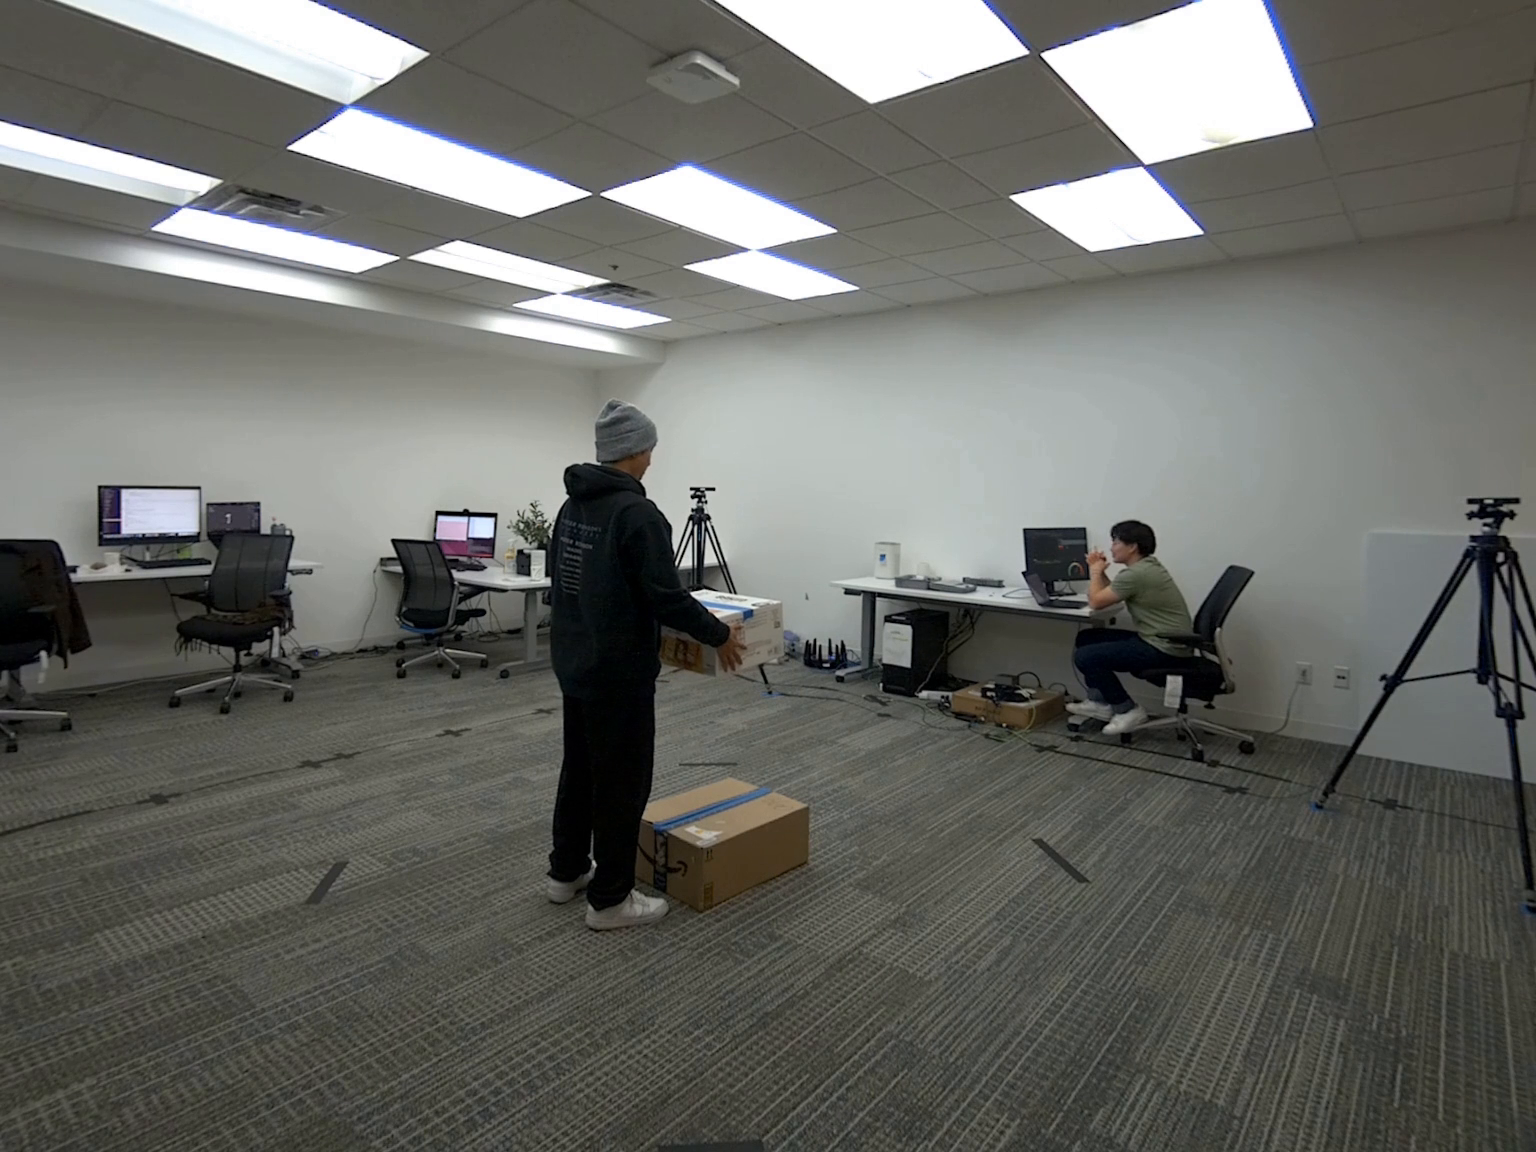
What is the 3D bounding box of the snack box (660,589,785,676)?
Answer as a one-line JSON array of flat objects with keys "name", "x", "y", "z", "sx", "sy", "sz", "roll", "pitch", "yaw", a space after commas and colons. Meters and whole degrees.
[{"name": "snack box", "x": -0.217, "y": 0.195, "z": 3.055, "sx": 0.419, "sy": 0.204, "sz": 0.331, "roll": 7, "pitch": 13, "yaw": 44}]
